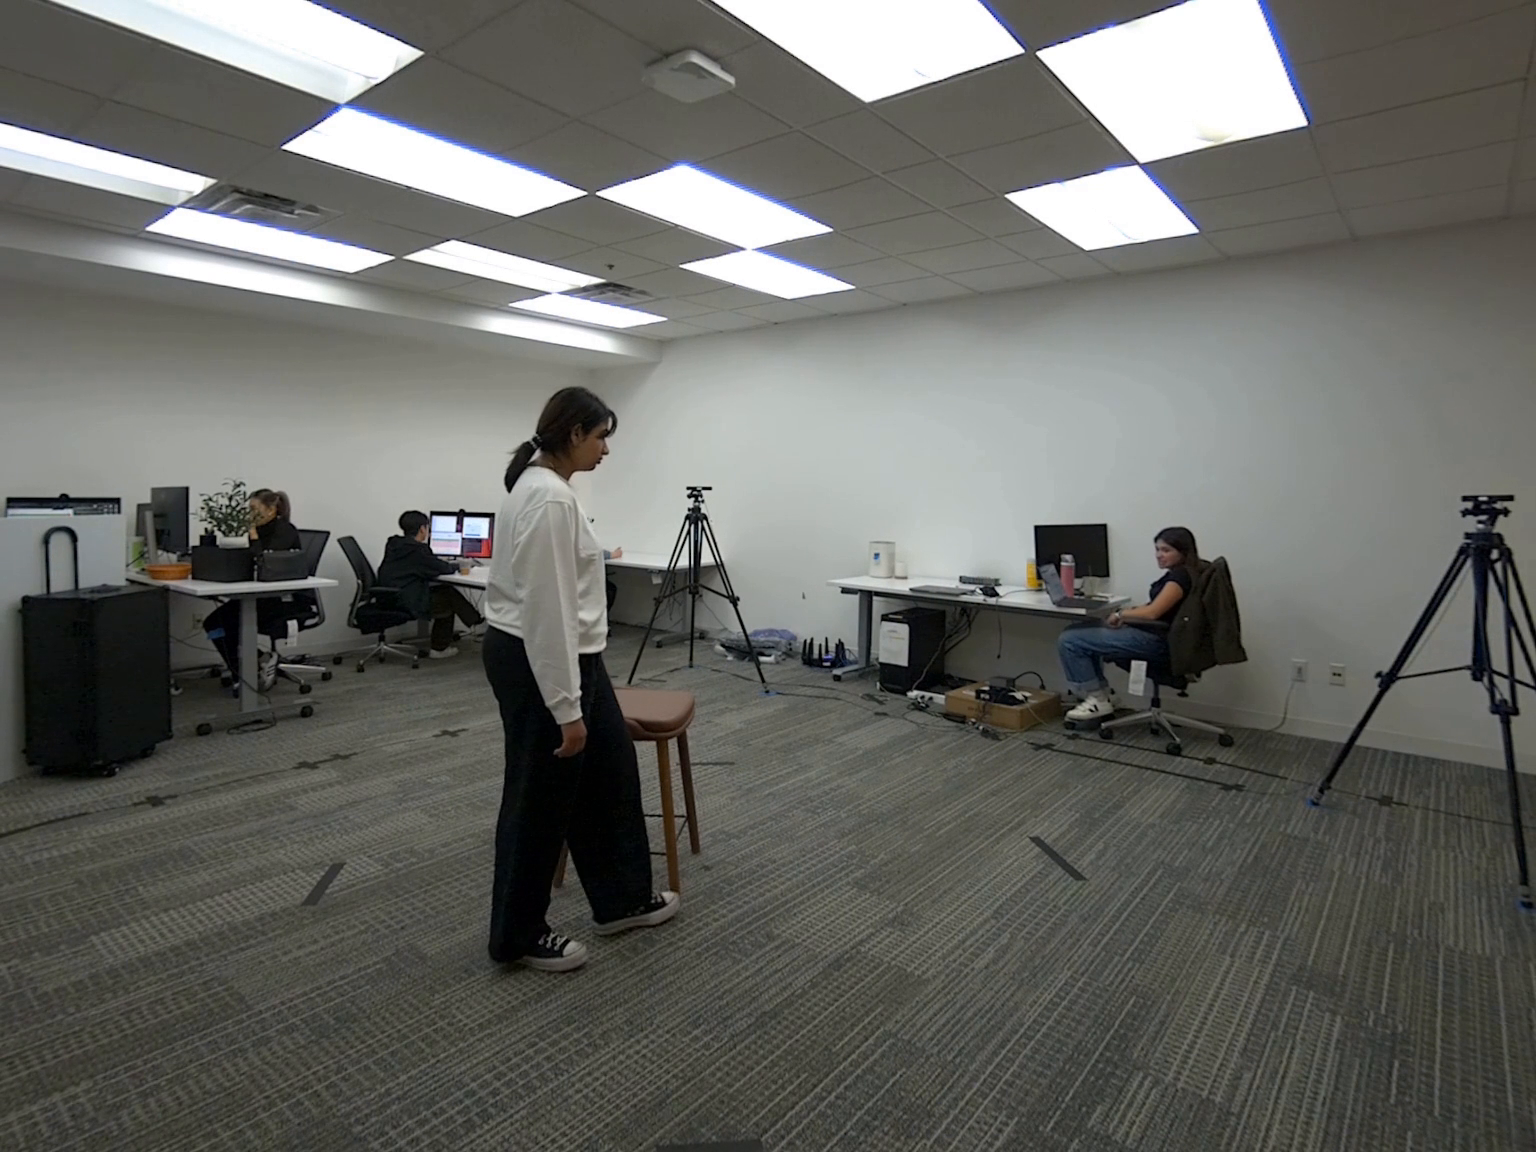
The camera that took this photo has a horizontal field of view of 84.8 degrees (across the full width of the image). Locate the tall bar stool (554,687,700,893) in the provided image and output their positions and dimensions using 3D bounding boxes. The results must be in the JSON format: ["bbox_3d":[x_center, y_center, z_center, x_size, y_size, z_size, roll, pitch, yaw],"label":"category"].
[{"bbox_3d":[-0.503,0.631,3.067,0.472,0.887,0.453,0,3,8],"label":"tall bar stool"}]
